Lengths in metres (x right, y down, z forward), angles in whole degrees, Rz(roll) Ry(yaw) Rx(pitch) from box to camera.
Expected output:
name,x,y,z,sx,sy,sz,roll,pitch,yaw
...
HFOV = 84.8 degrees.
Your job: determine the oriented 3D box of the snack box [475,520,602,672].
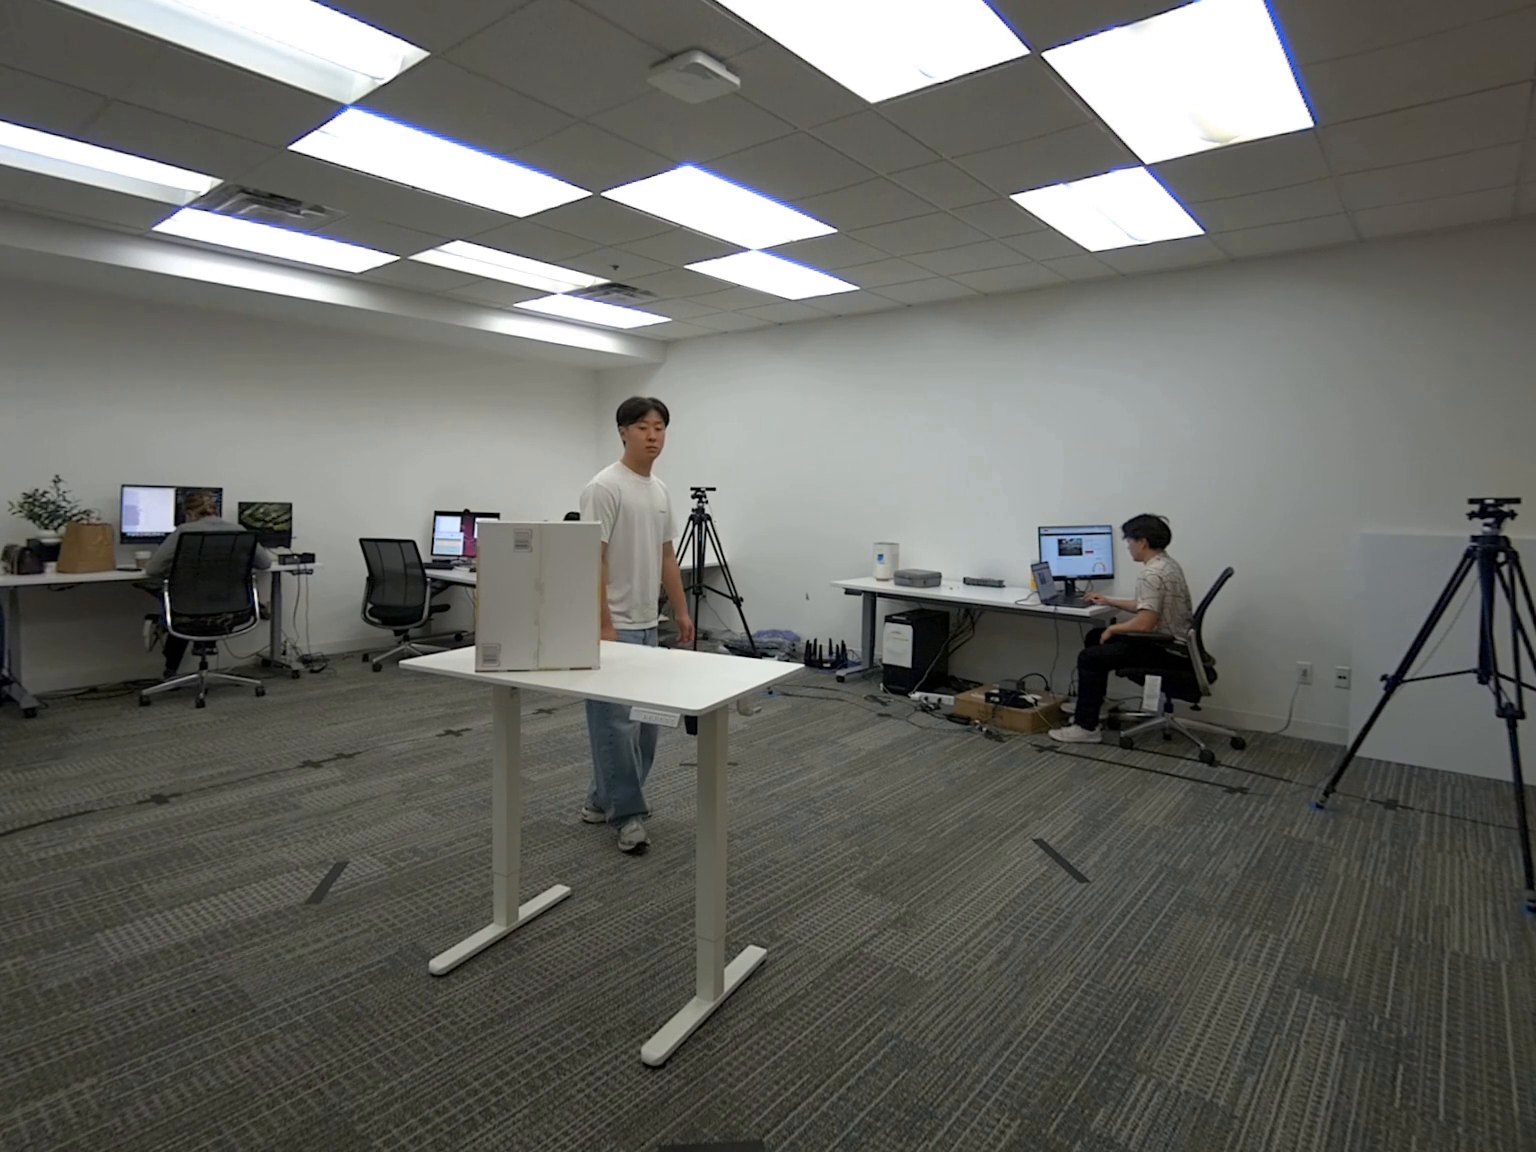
name,x,y,z,sx,sy,sz,roll,pitch,yaw
snack box,-0.655,0.041,2.406,0.337,0.404,0.208,2,3,-10
